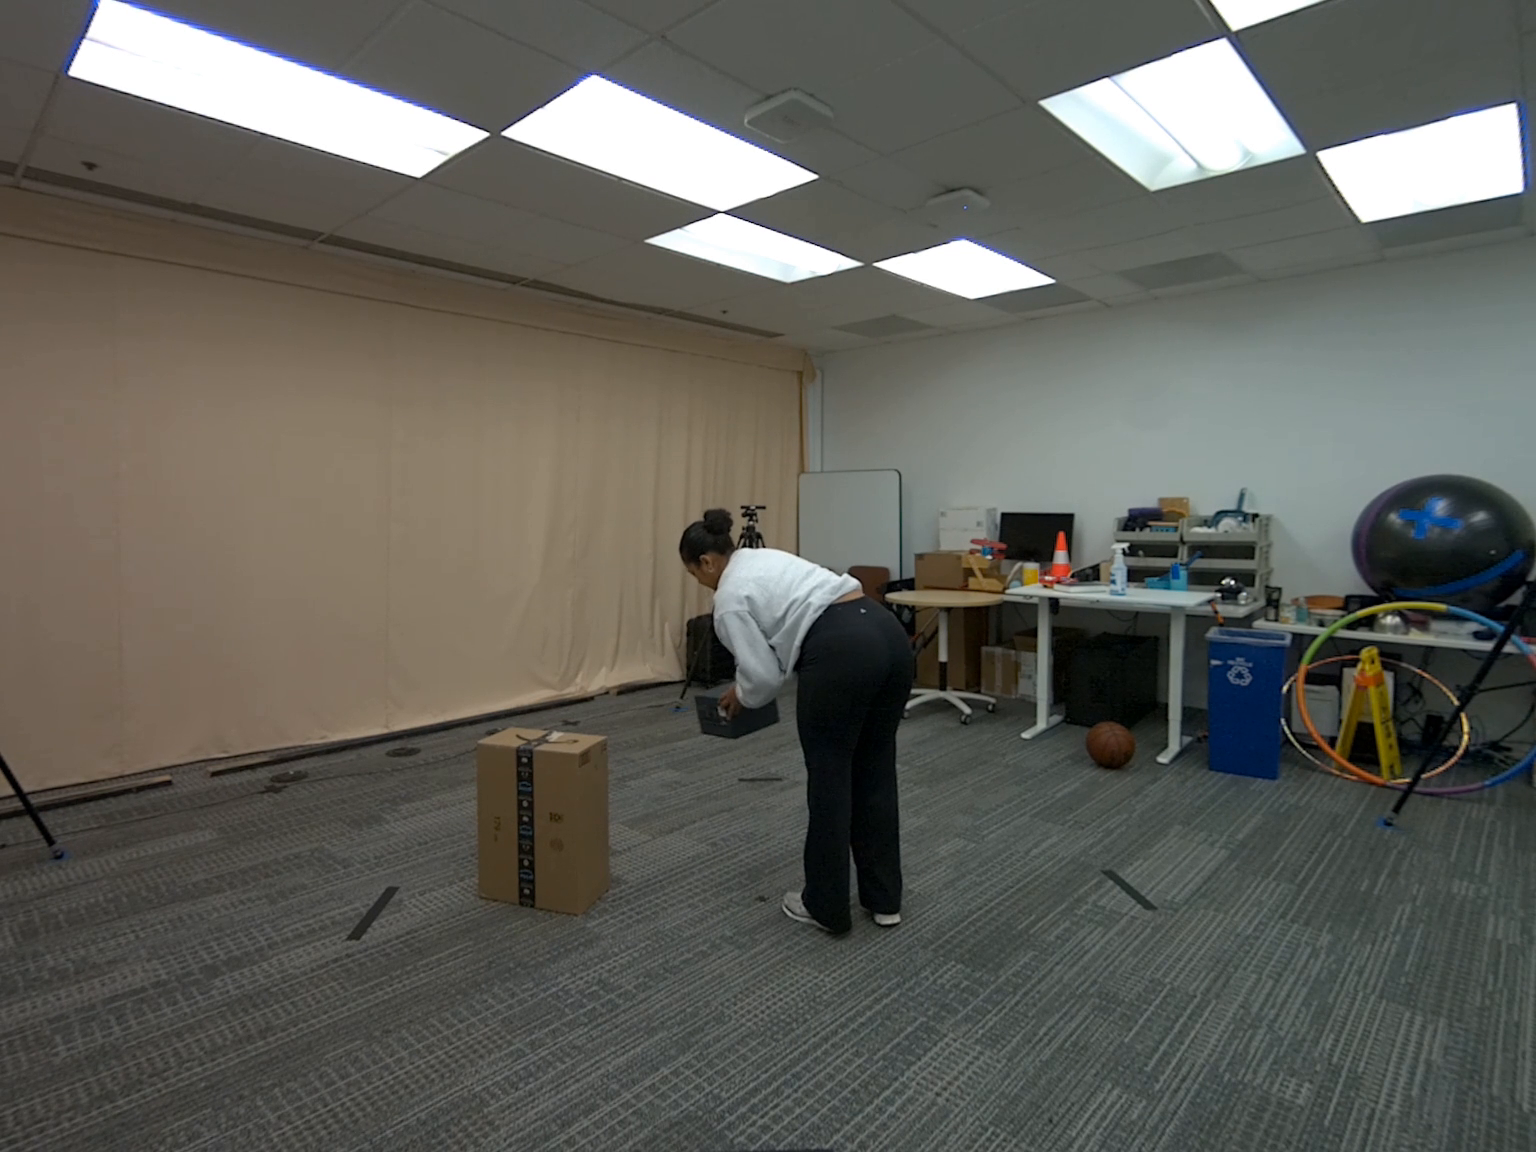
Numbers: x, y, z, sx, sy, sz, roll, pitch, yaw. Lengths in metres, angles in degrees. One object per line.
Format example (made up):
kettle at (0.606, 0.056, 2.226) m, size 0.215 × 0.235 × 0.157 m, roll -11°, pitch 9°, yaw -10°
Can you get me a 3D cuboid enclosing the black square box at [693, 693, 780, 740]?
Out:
black square box at (-0.139, 0.504, 3.200) m, size 0.222 × 0.155 × 0.223 m, roll -12°, pitch 5°, yaw -35°
